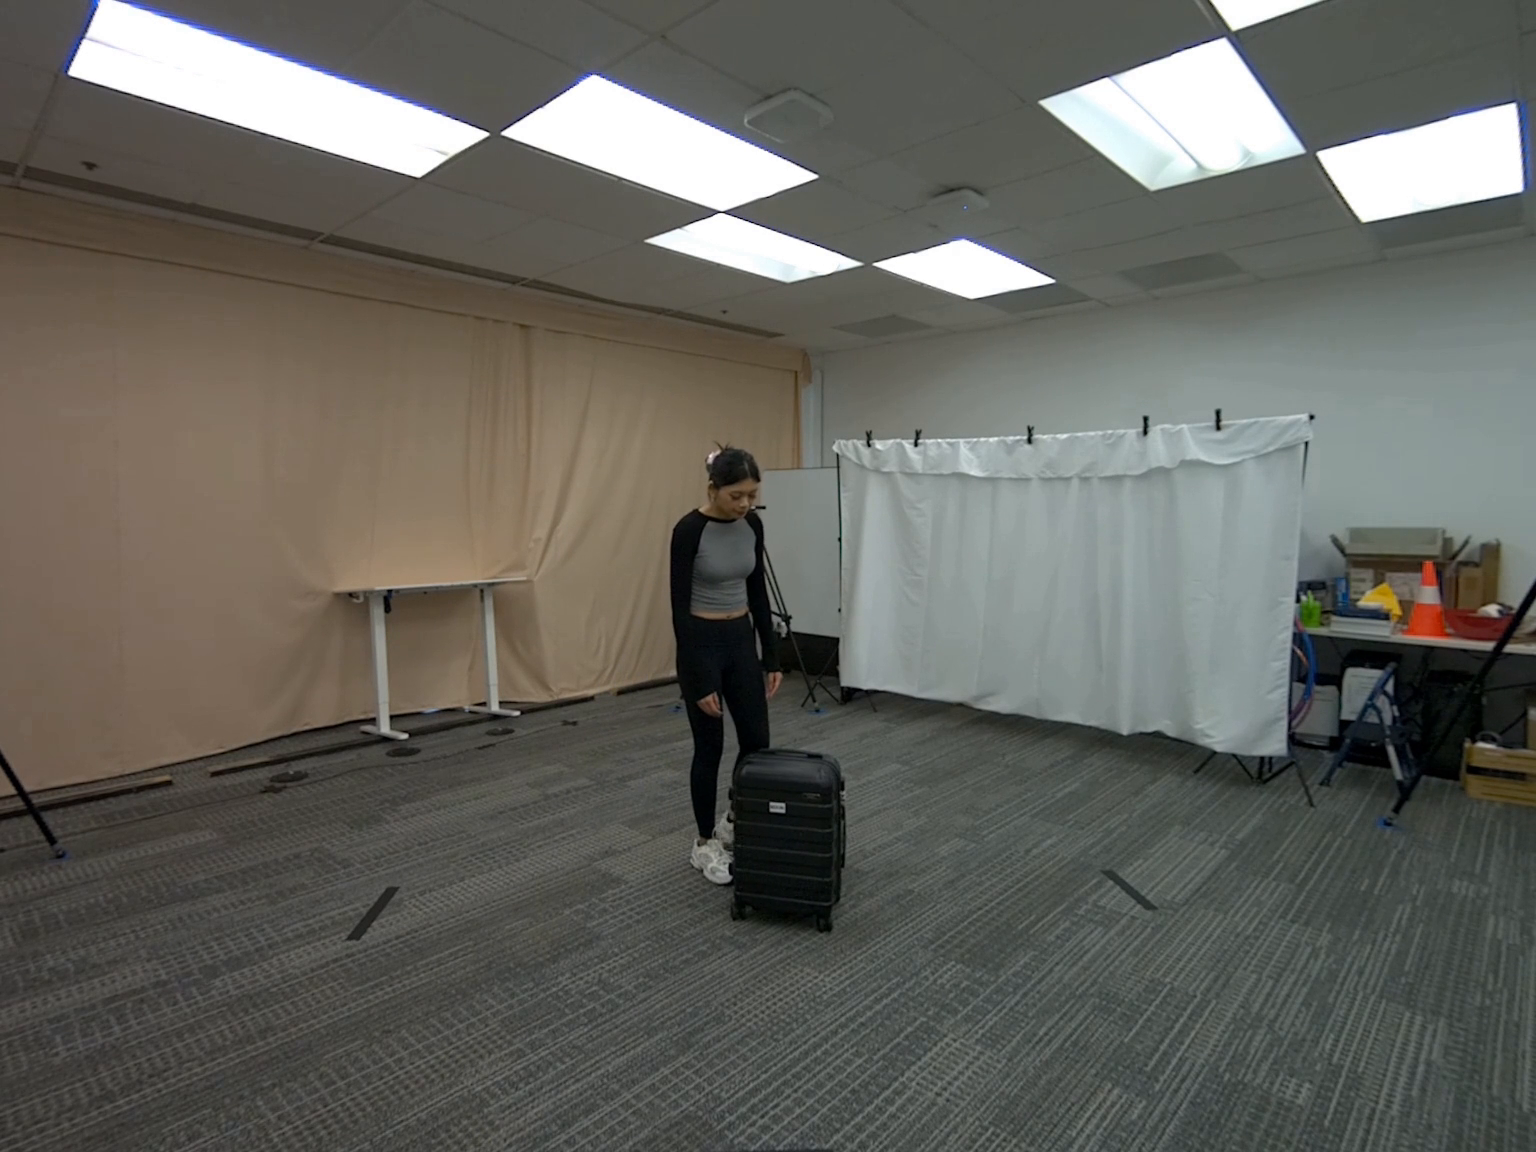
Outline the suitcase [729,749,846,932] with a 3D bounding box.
[{"bbox_3d":[0.077,0.878,2.862,0.382,0.547,0.245,2,6,16],"label":"suitcase"}]
